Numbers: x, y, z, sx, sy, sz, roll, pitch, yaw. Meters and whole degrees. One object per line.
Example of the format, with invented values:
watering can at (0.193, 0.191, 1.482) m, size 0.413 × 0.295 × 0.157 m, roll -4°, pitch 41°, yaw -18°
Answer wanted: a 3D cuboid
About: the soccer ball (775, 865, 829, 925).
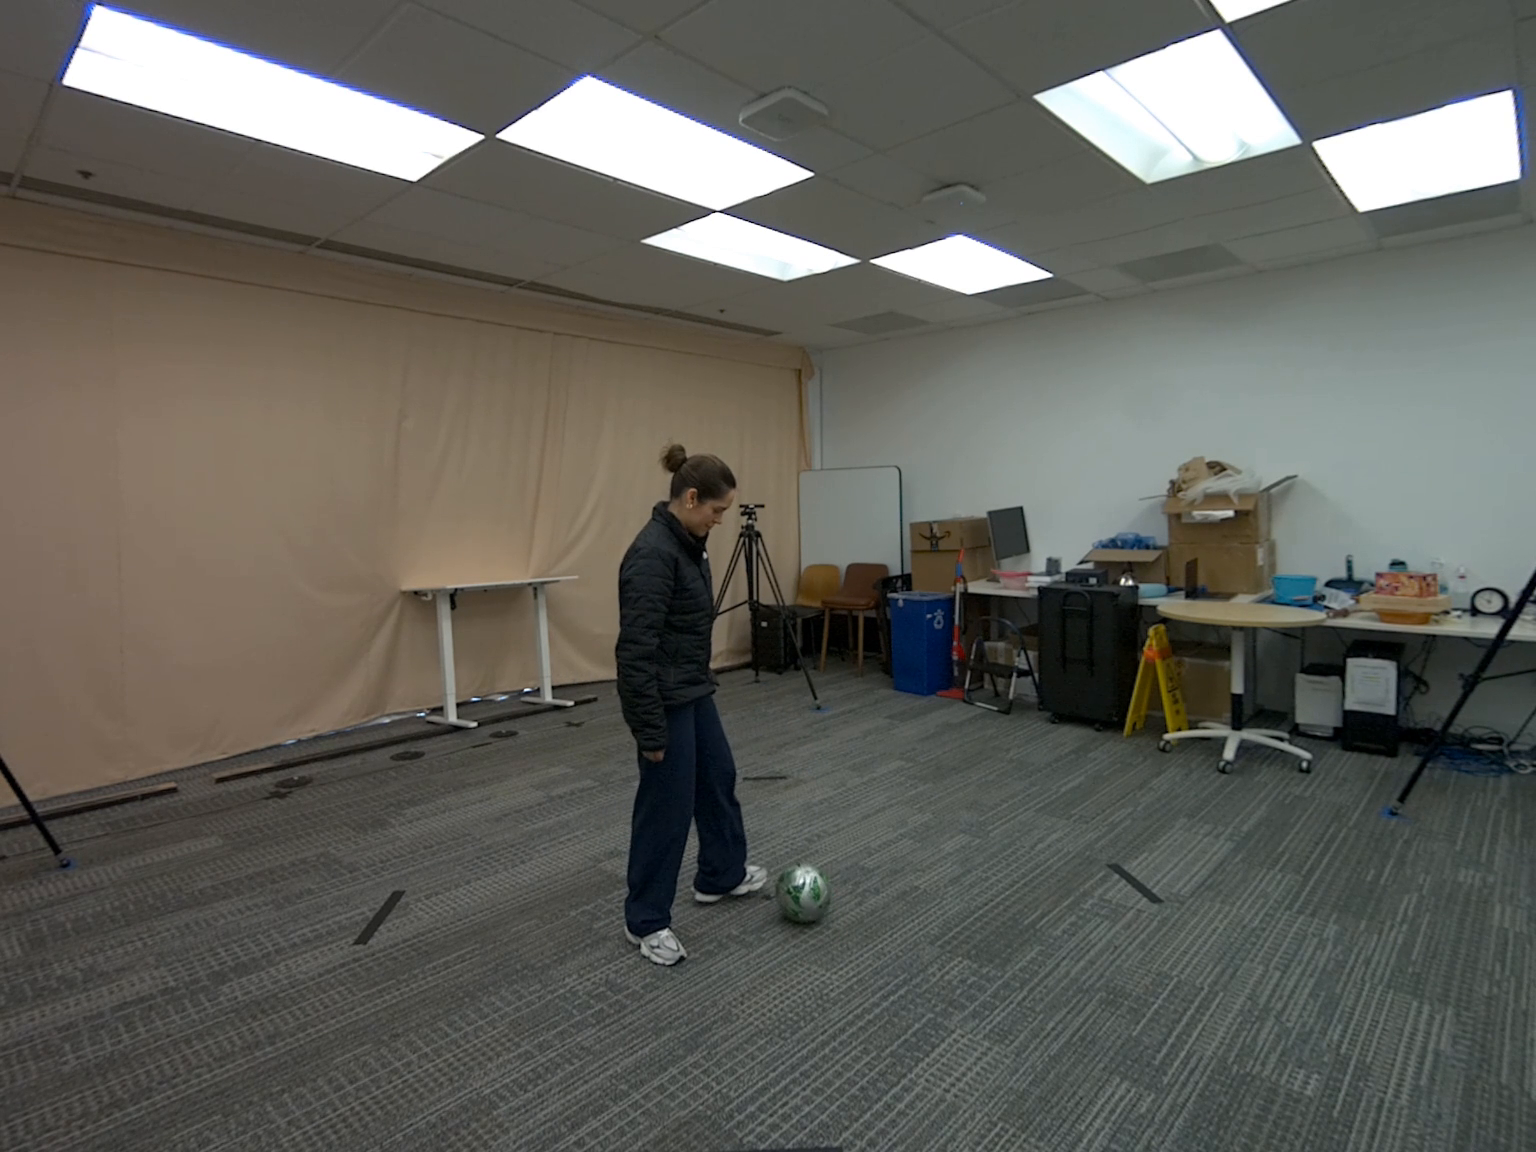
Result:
soccer ball at (0.123, 1.058, 2.812) m, size 0.187 × 0.187 × 0.188 m, roll -1°, pitch 4°, yaw -2°
